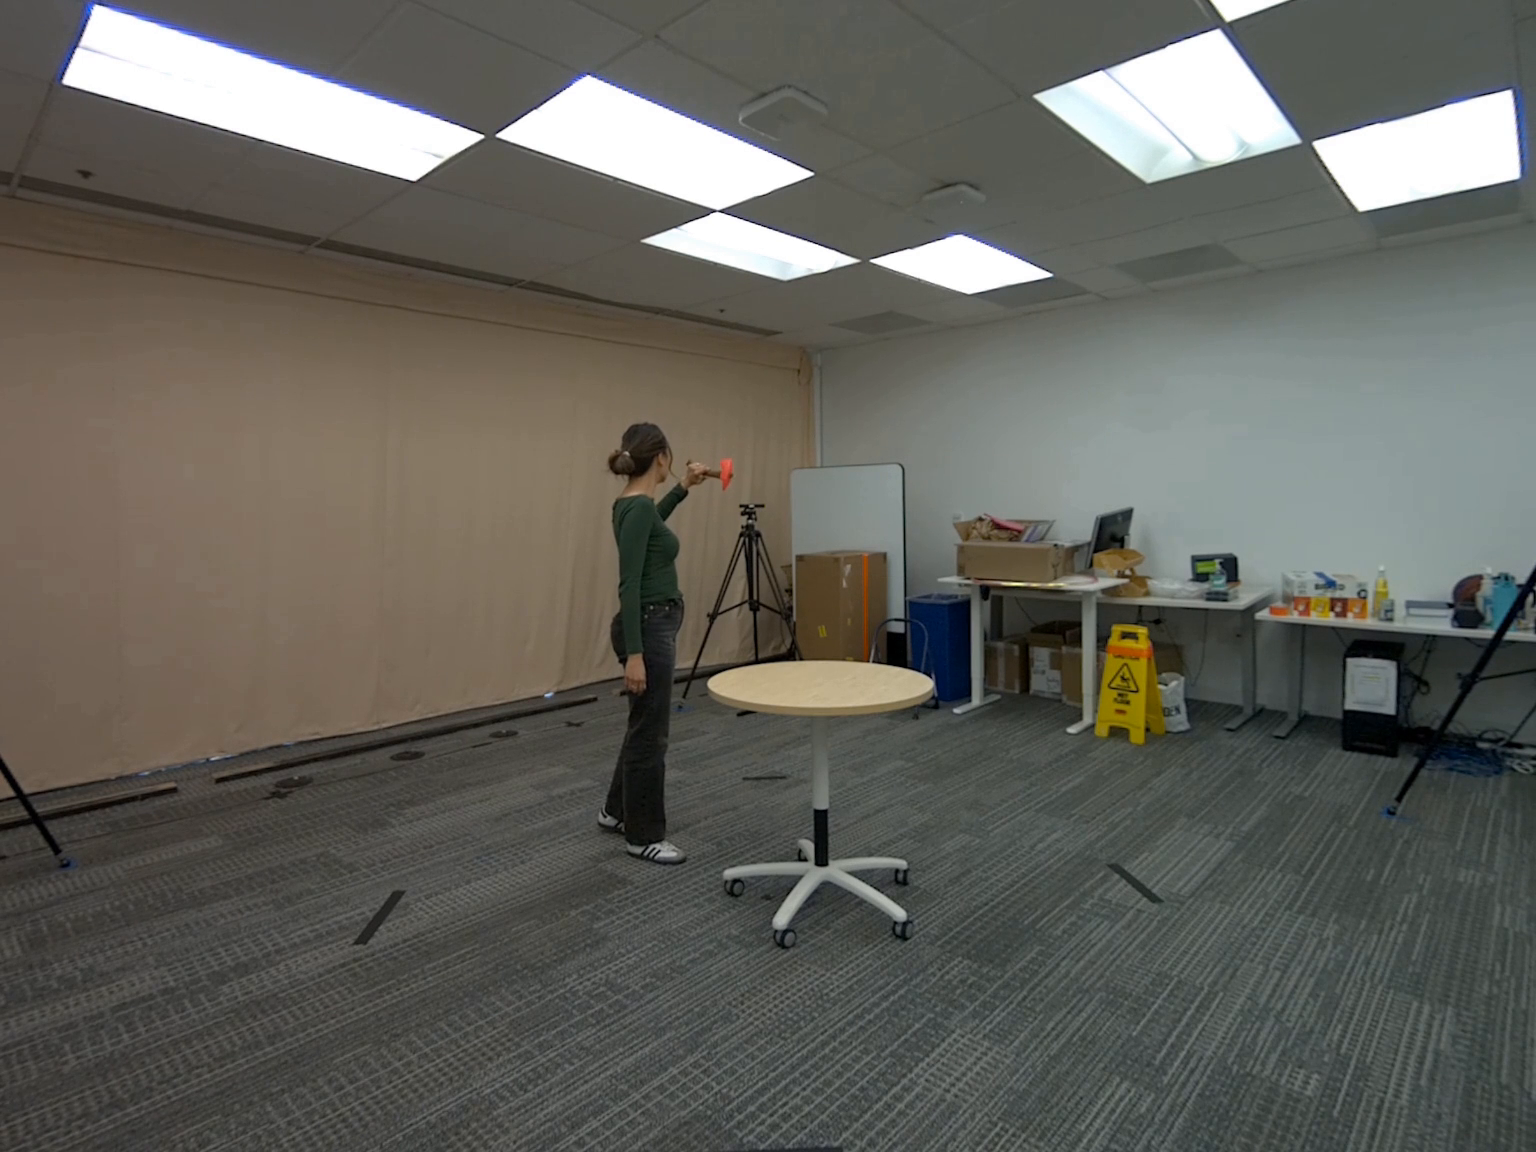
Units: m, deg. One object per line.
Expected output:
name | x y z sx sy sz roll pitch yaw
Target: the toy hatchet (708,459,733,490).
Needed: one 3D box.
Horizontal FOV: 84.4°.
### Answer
toy hatchet | -0.241 -0.469 3.579 0.028 0.131 0.280 11 19 -49
